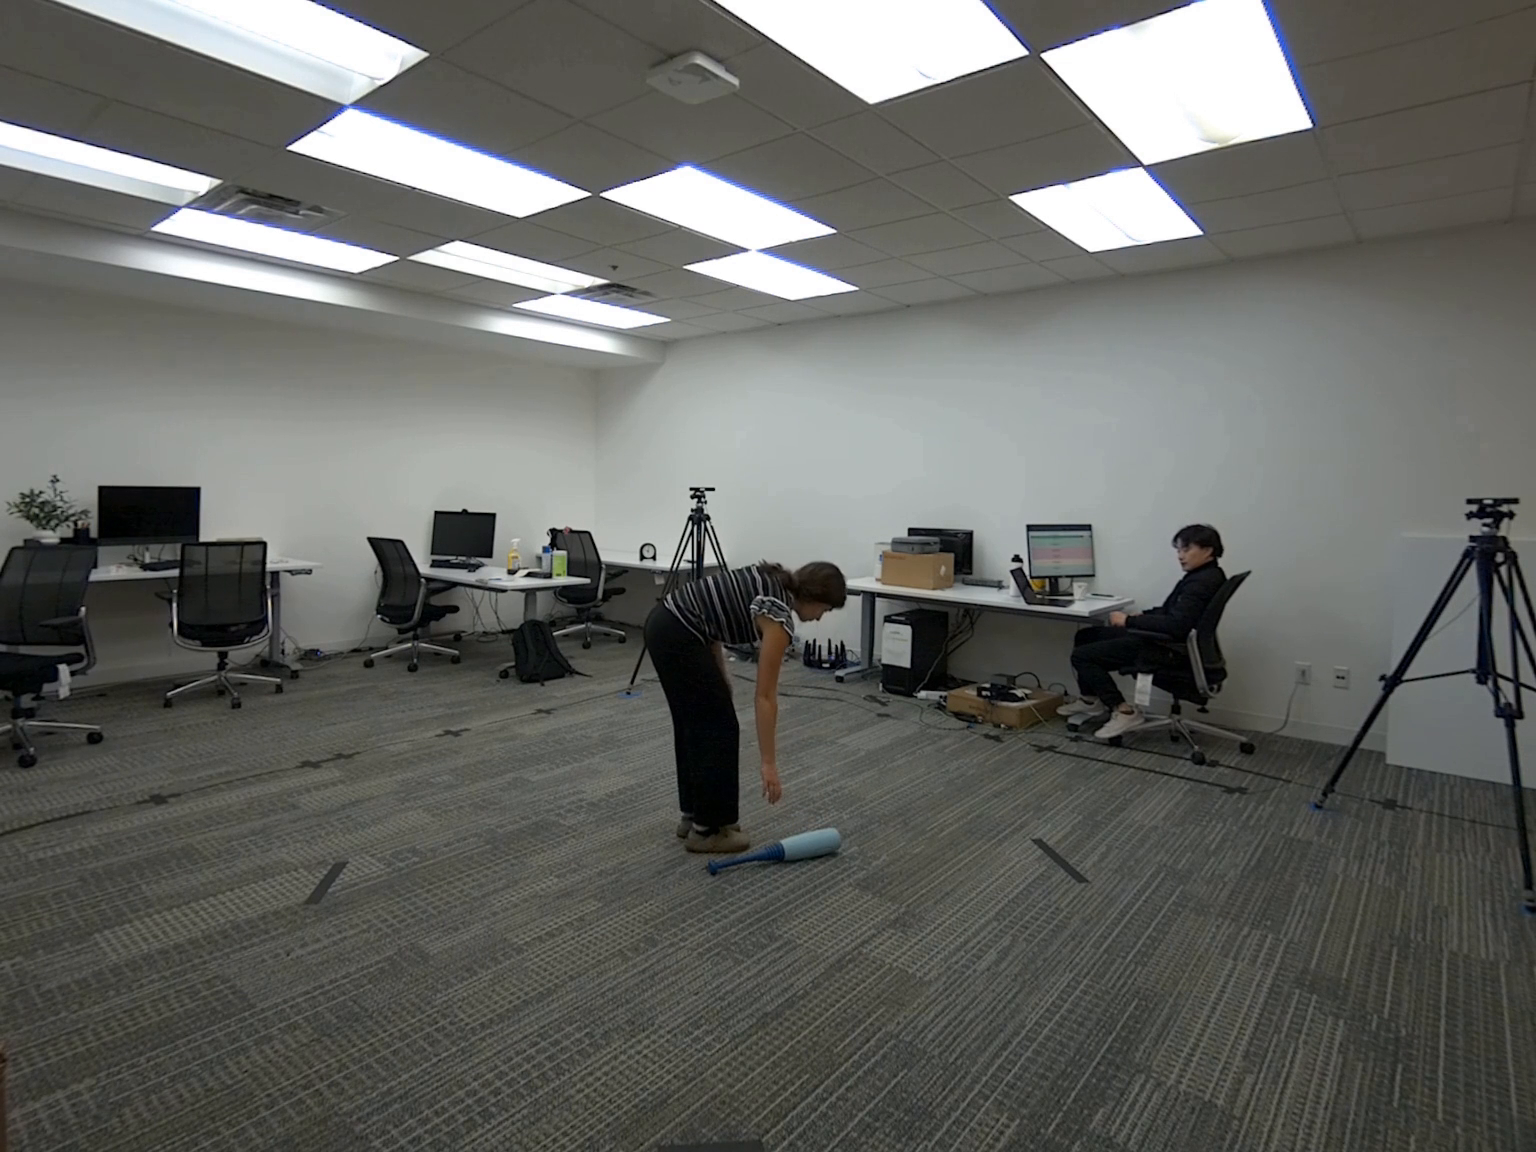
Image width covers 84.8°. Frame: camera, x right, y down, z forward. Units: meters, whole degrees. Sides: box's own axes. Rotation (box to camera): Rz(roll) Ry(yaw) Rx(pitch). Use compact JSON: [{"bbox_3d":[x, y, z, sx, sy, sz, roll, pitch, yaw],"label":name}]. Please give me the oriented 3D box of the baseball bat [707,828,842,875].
[{"bbox_3d":[0.023,1.030,3.168,0.530,0.088,0.091,-4,6,-26],"label":"baseball bat"}]
